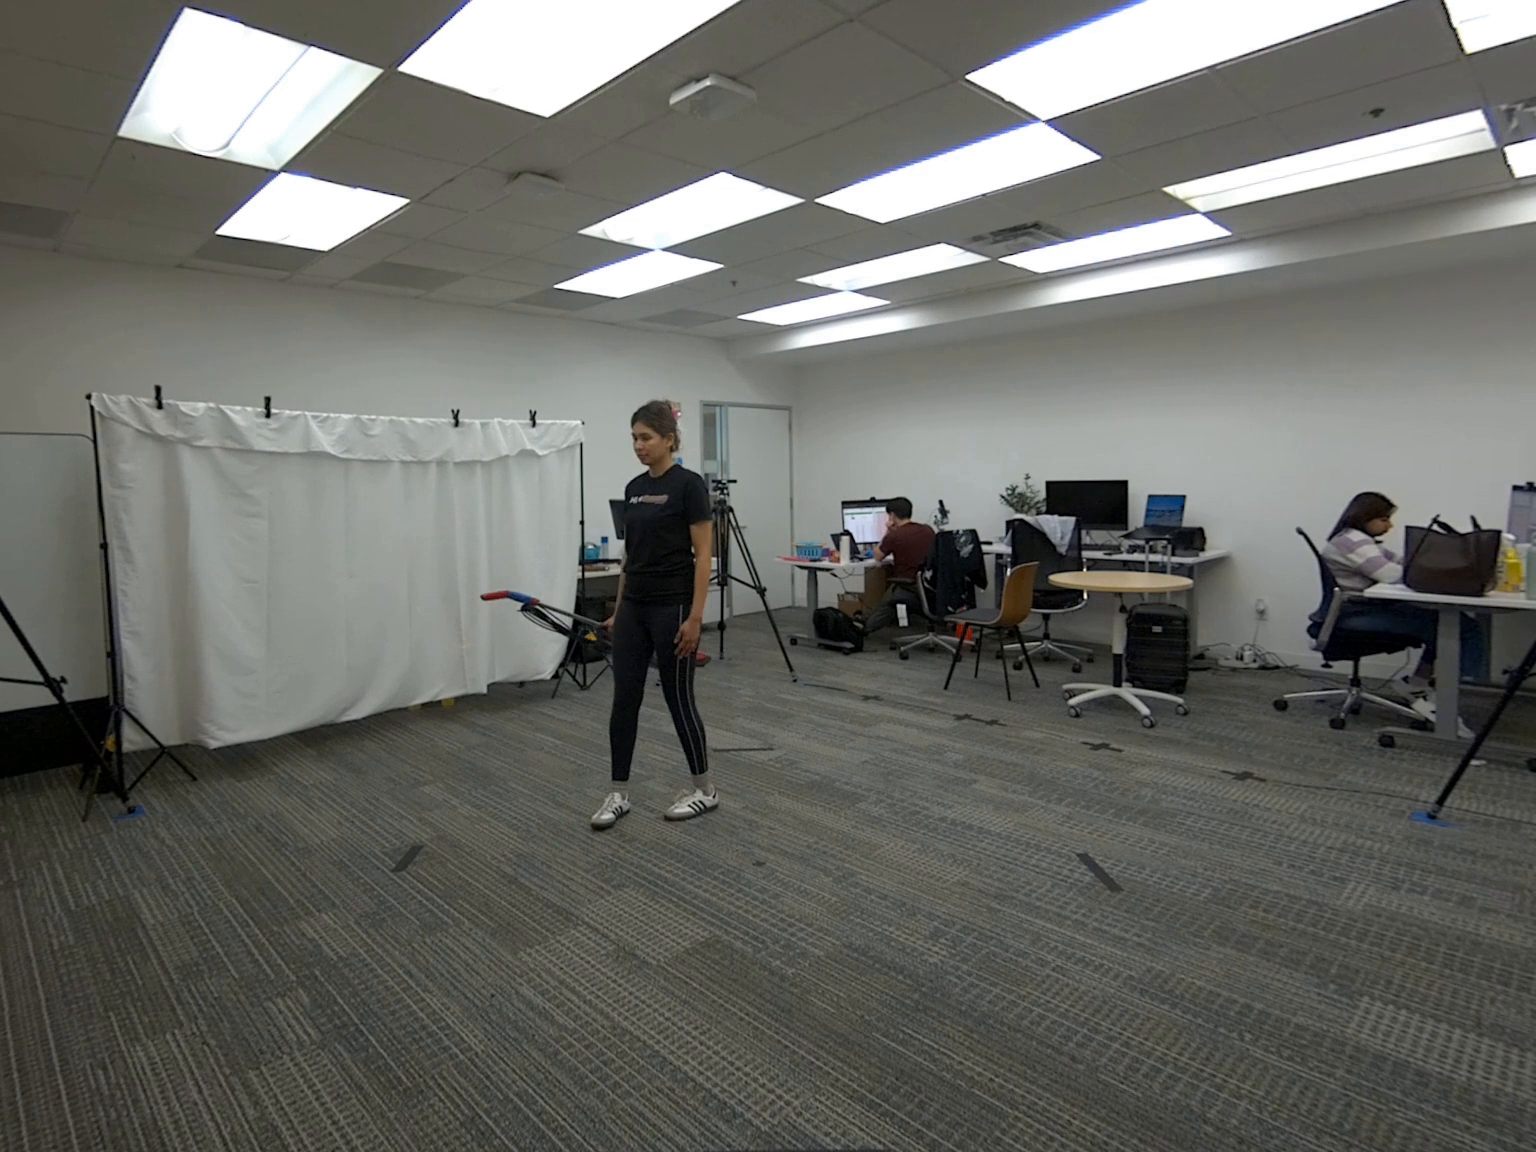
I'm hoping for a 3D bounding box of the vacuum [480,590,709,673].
[{"bbox_3d":[-0.760,0.254,3.703,1.014,0.144,0.260,23,-5,-33],"label":"vacuum"}]
